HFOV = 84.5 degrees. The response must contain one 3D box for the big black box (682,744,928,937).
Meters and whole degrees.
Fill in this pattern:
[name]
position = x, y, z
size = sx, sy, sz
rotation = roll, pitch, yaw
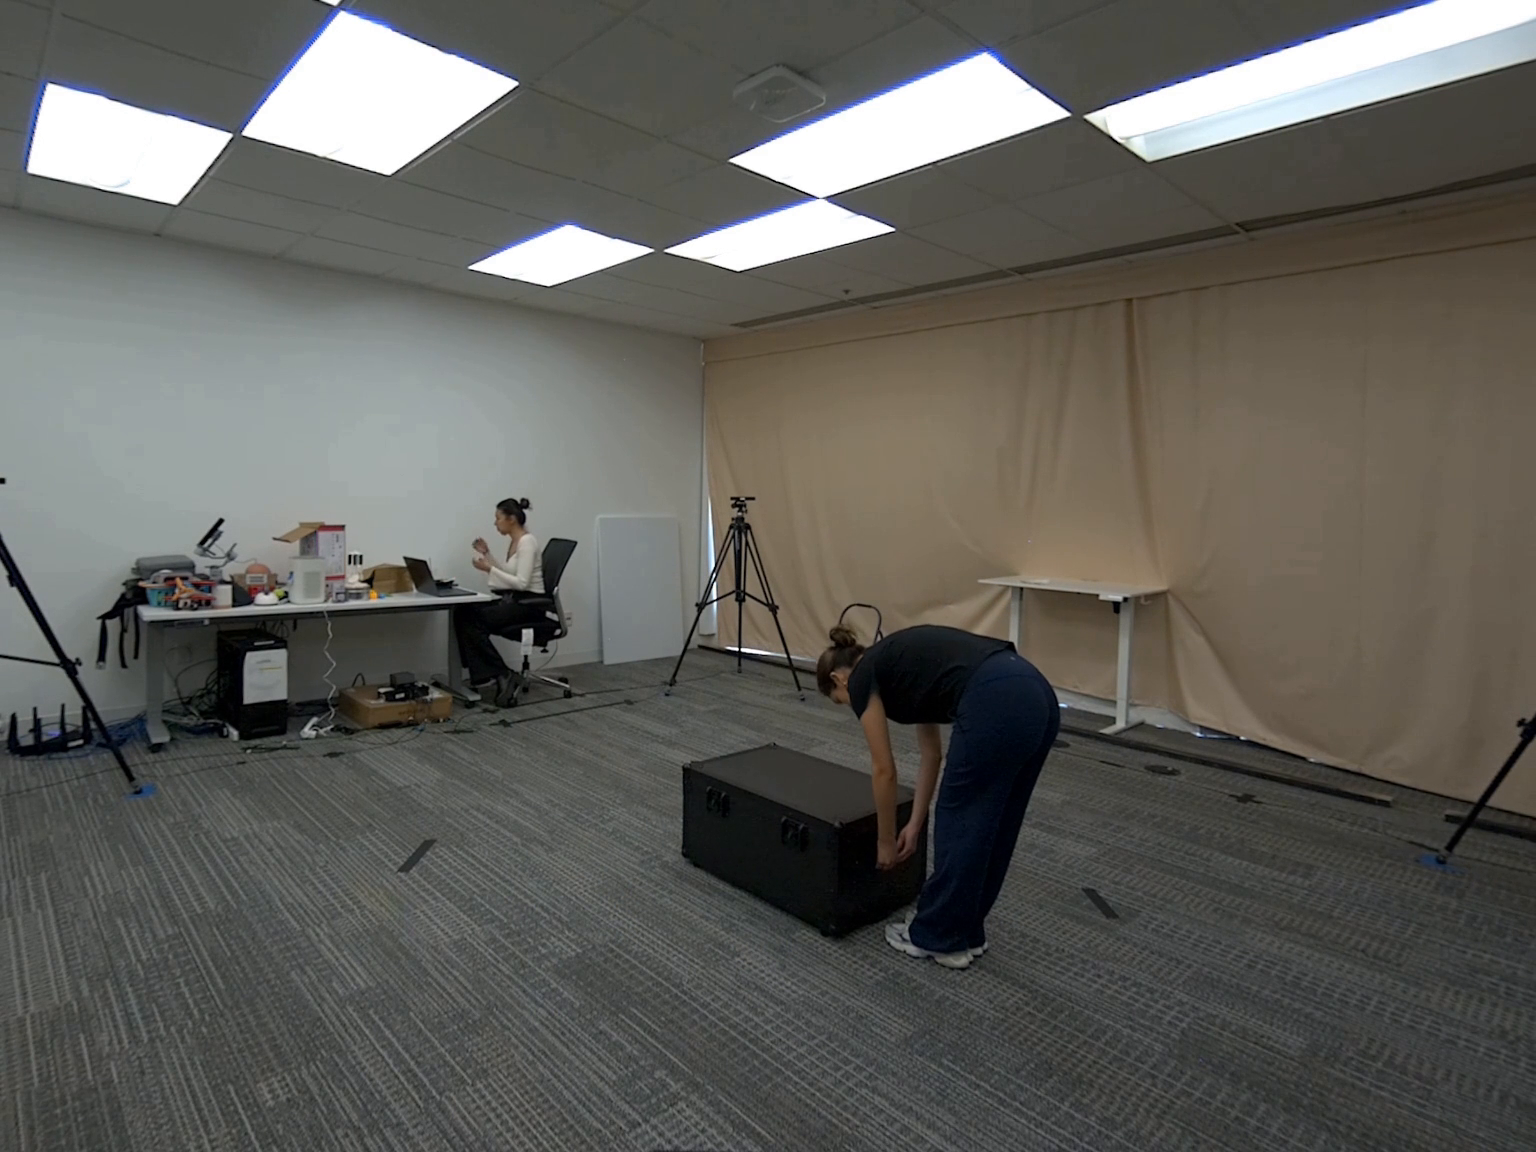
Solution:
[big black box]
position = 0.093, 0.924, 3.091
size = 0.509, 0.395, 0.884
rotation = -2, 7, -44
